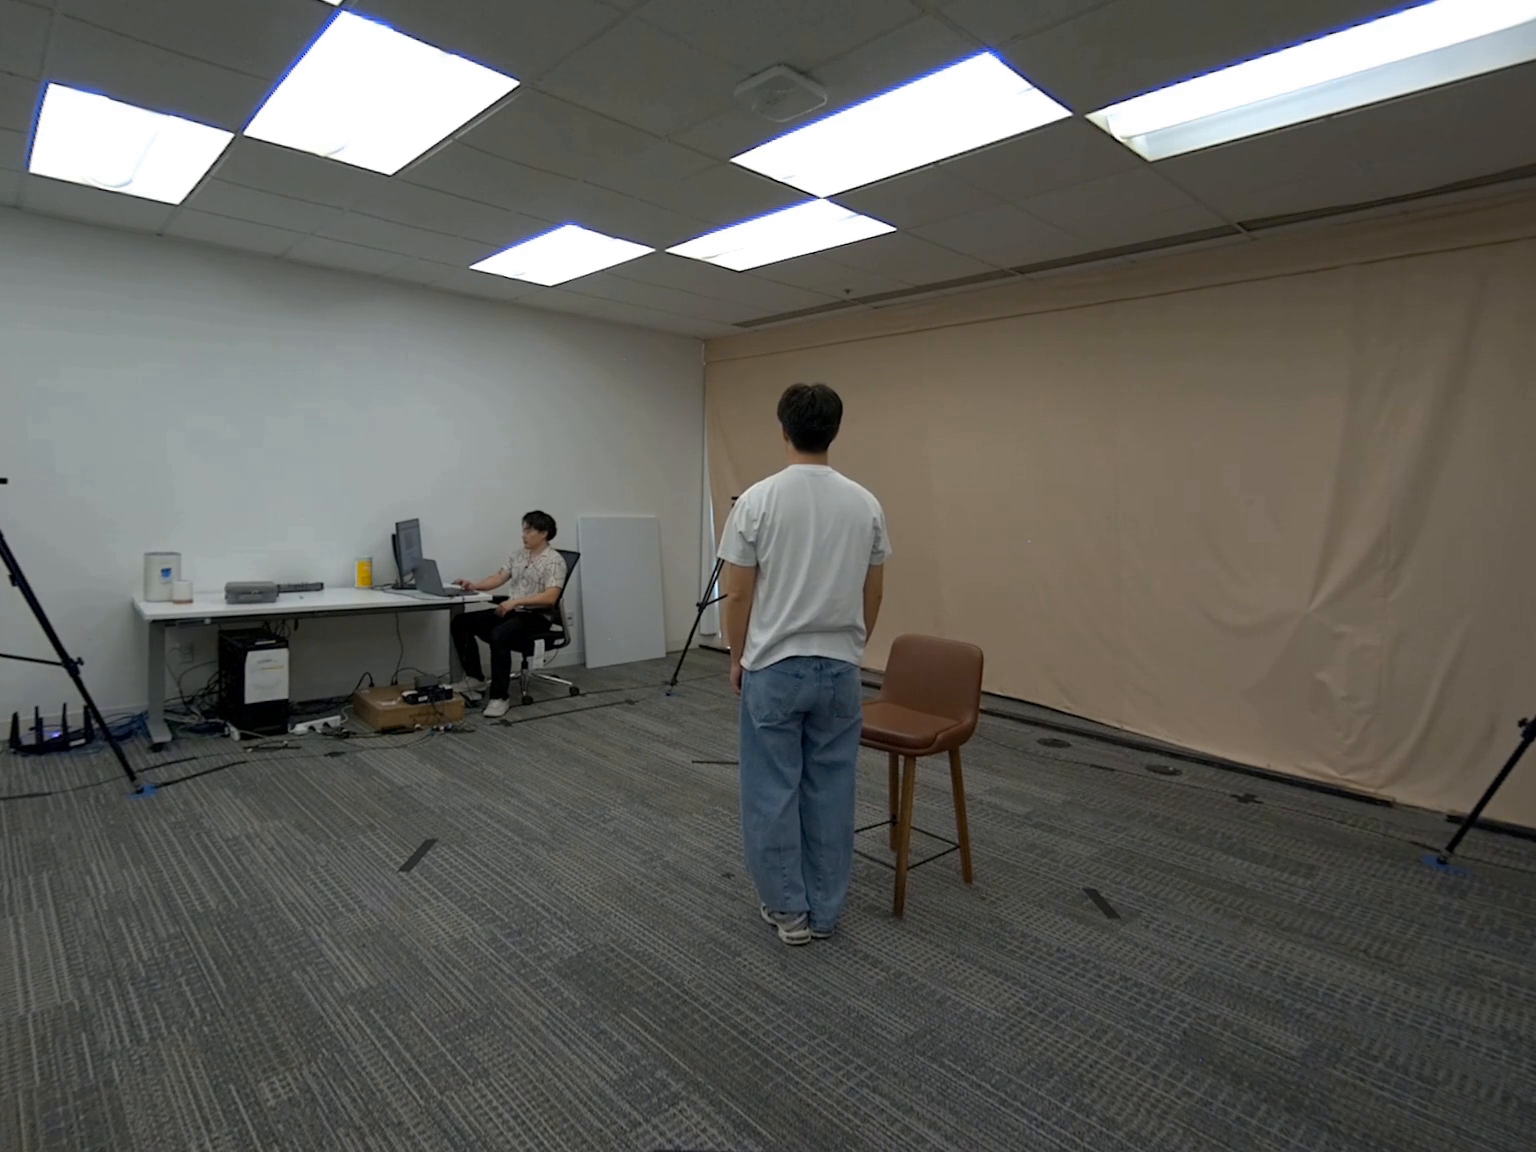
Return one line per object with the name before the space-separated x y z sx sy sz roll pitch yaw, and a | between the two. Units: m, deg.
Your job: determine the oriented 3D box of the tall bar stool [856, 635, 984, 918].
tall bar stool | 0.481 0.685 3.084 0.456 0.889 0.468 2 2 -41
